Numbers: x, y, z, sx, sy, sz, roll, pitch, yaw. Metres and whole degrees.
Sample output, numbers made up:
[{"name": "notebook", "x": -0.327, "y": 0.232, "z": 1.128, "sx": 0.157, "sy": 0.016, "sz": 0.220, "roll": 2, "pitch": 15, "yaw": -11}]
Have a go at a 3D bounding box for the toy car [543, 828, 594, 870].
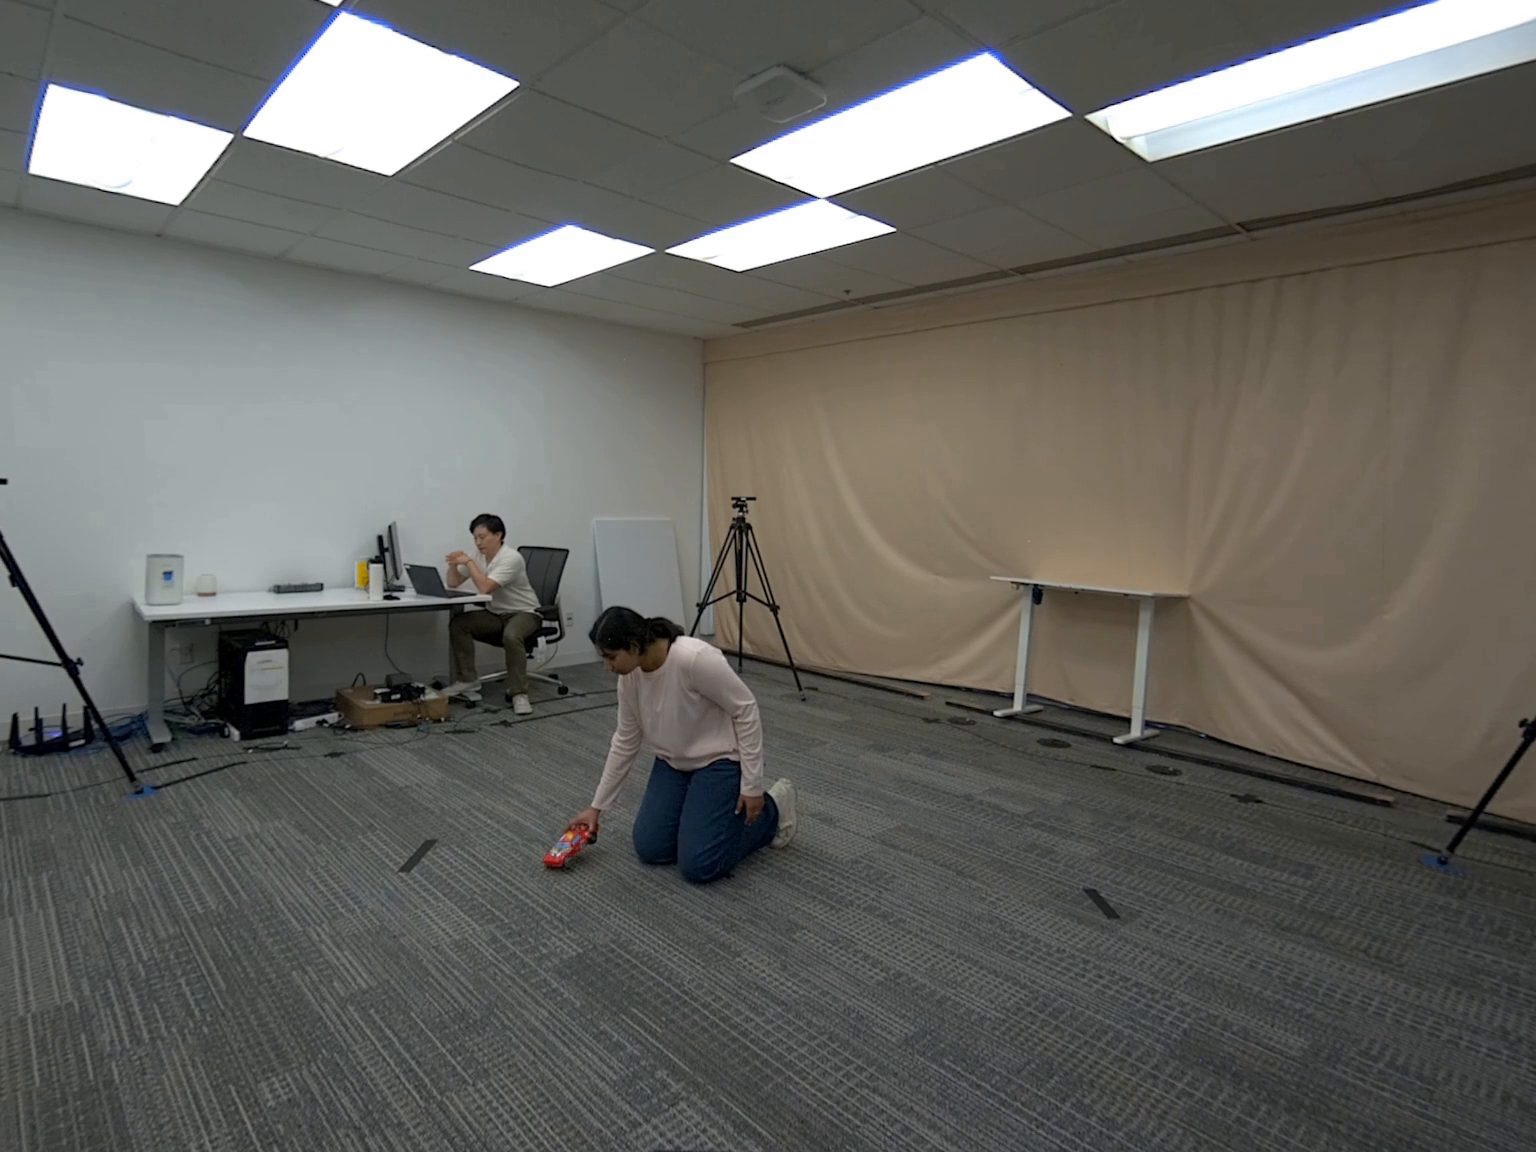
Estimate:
[{"name": "toy car", "x": -0.741, "y": 1.010, "z": 3.196, "sx": 0.132, "sy": 0.082, "sz": 0.254, "roll": -13, "pitch": 22, "yaw": 36}]
